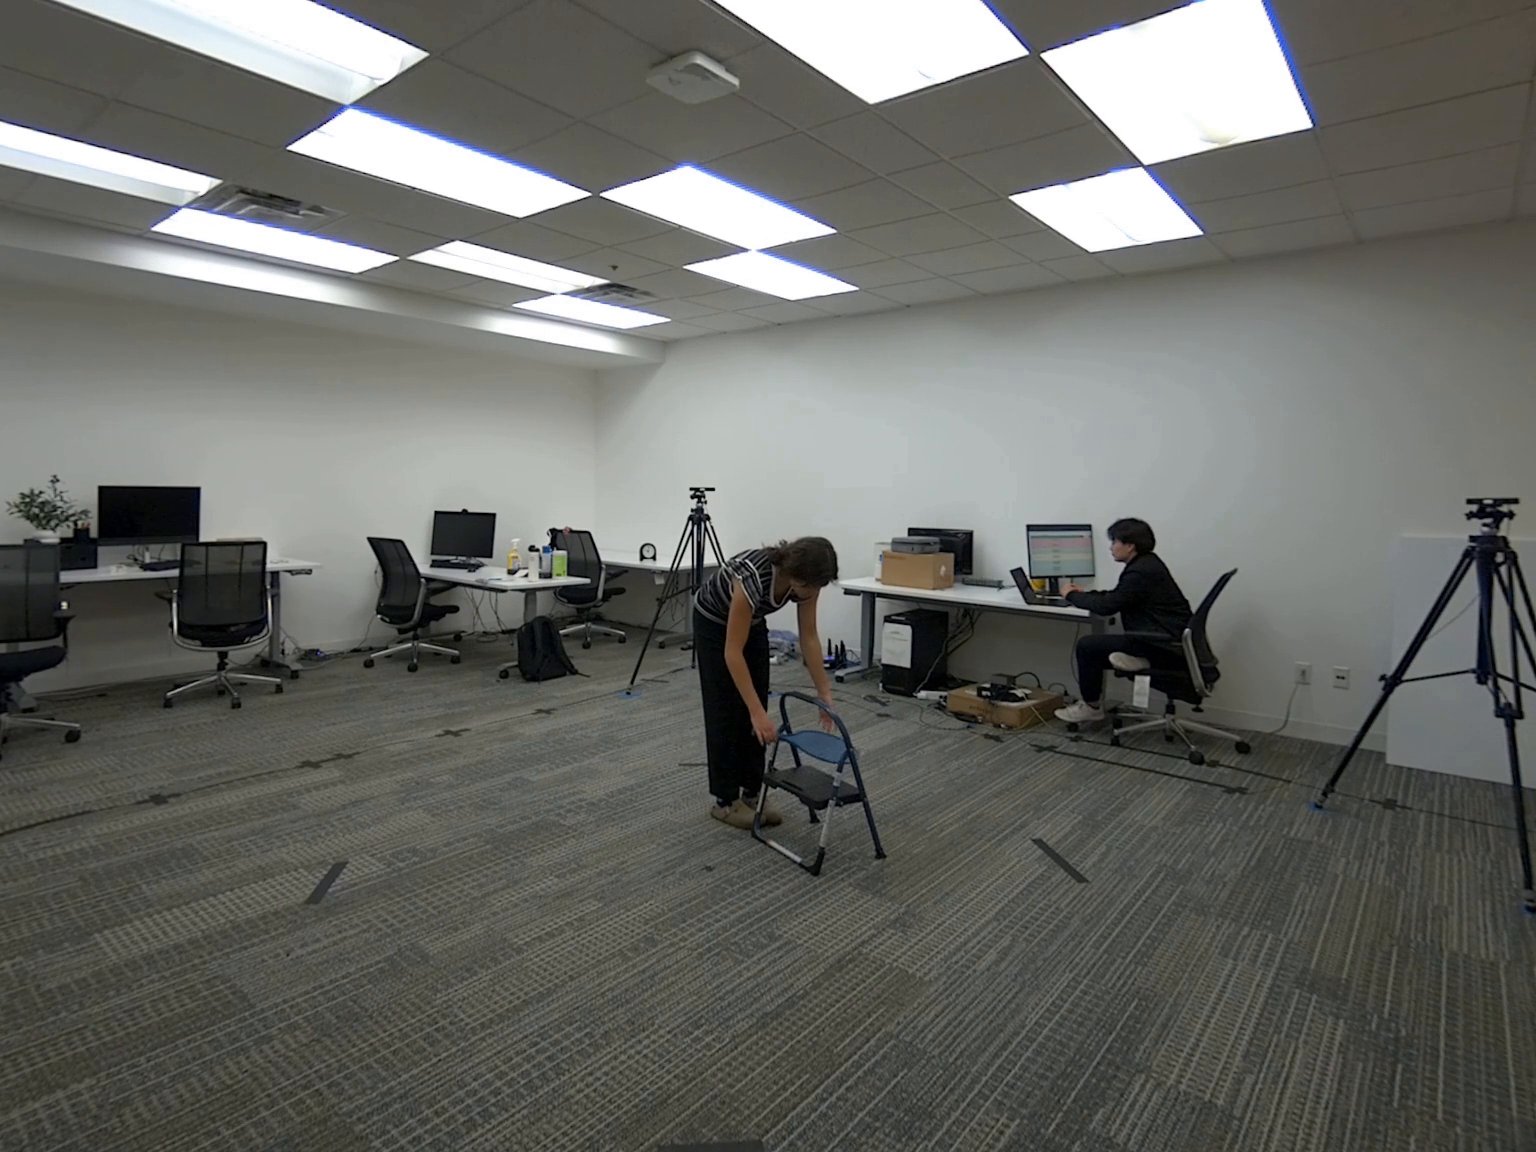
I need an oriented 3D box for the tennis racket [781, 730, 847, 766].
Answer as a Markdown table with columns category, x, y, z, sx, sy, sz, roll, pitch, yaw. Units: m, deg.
| category | x | y | z | sx | sy | sz | roll | pitch | yaw |
| --- | --- | --- | --- | --- | --- | --- | --- | --- | --- |
| tennis racket | 0.125 | 0.643 | 3.321 | 0.429 | 0.031 | 0.217 | 14 | 16 | -6 |
